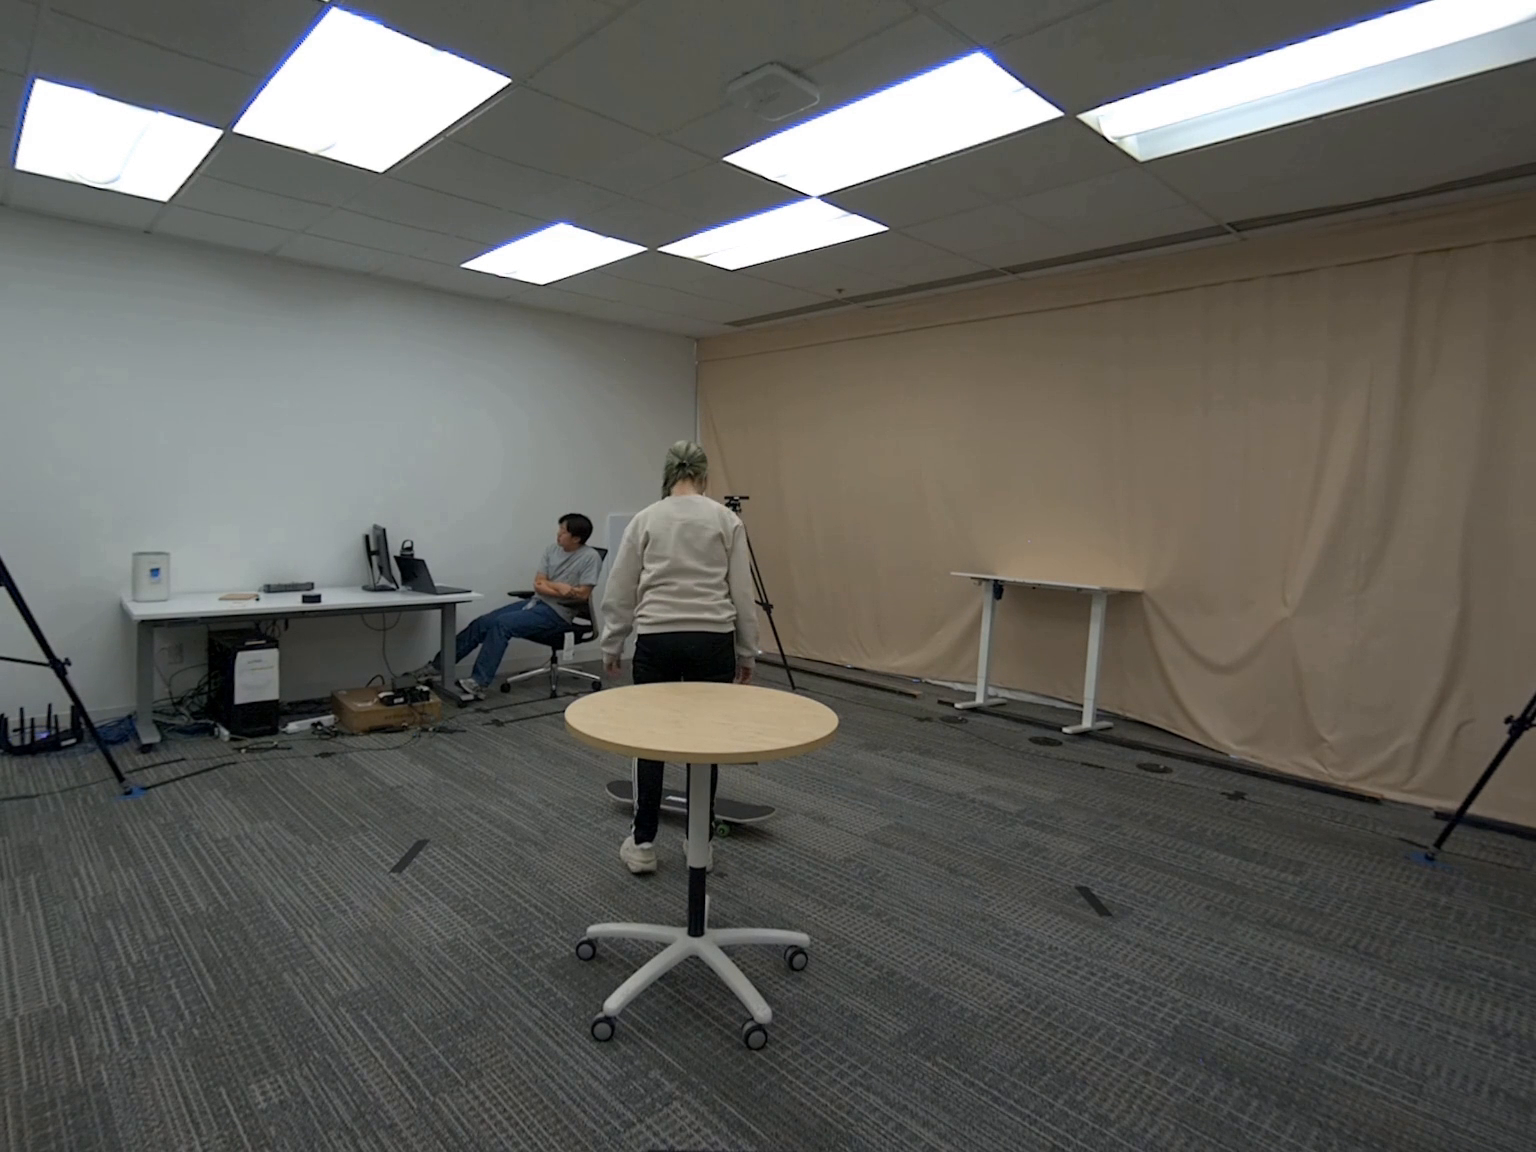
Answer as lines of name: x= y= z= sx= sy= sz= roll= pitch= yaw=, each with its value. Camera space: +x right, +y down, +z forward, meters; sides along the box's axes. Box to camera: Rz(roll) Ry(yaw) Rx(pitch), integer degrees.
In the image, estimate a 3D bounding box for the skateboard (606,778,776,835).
skateboard: x=-0.355 y=0.995 z=3.609 sx=0.800 sy=0.110 sz=0.190 roll=4 pitch=5 yaw=23
